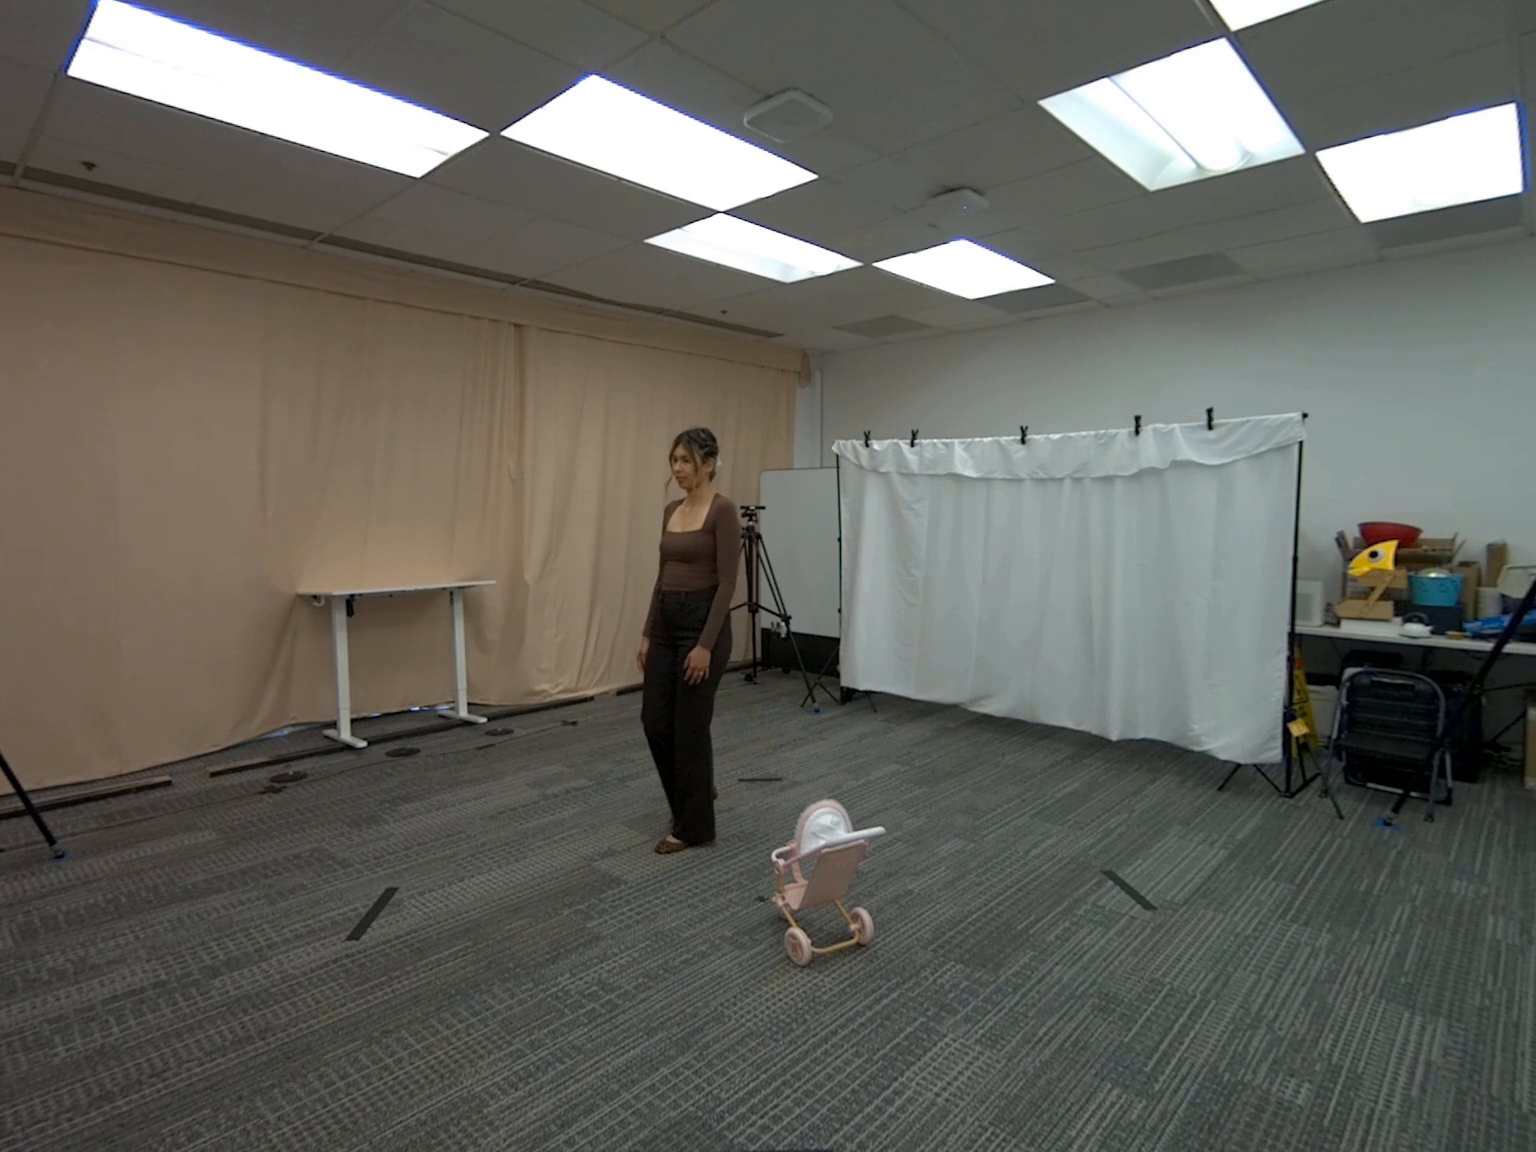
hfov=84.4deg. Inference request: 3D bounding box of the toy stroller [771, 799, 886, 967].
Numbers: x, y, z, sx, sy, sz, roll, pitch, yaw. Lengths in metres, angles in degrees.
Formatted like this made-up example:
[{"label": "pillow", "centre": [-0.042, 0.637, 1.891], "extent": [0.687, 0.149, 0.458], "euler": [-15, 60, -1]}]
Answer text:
[{"label": "toy stroller", "centre": [0.166, 0.942, 2.664], "extent": [0.274, 0.531, 0.353], "euler": [-1, 19, -28]}]
